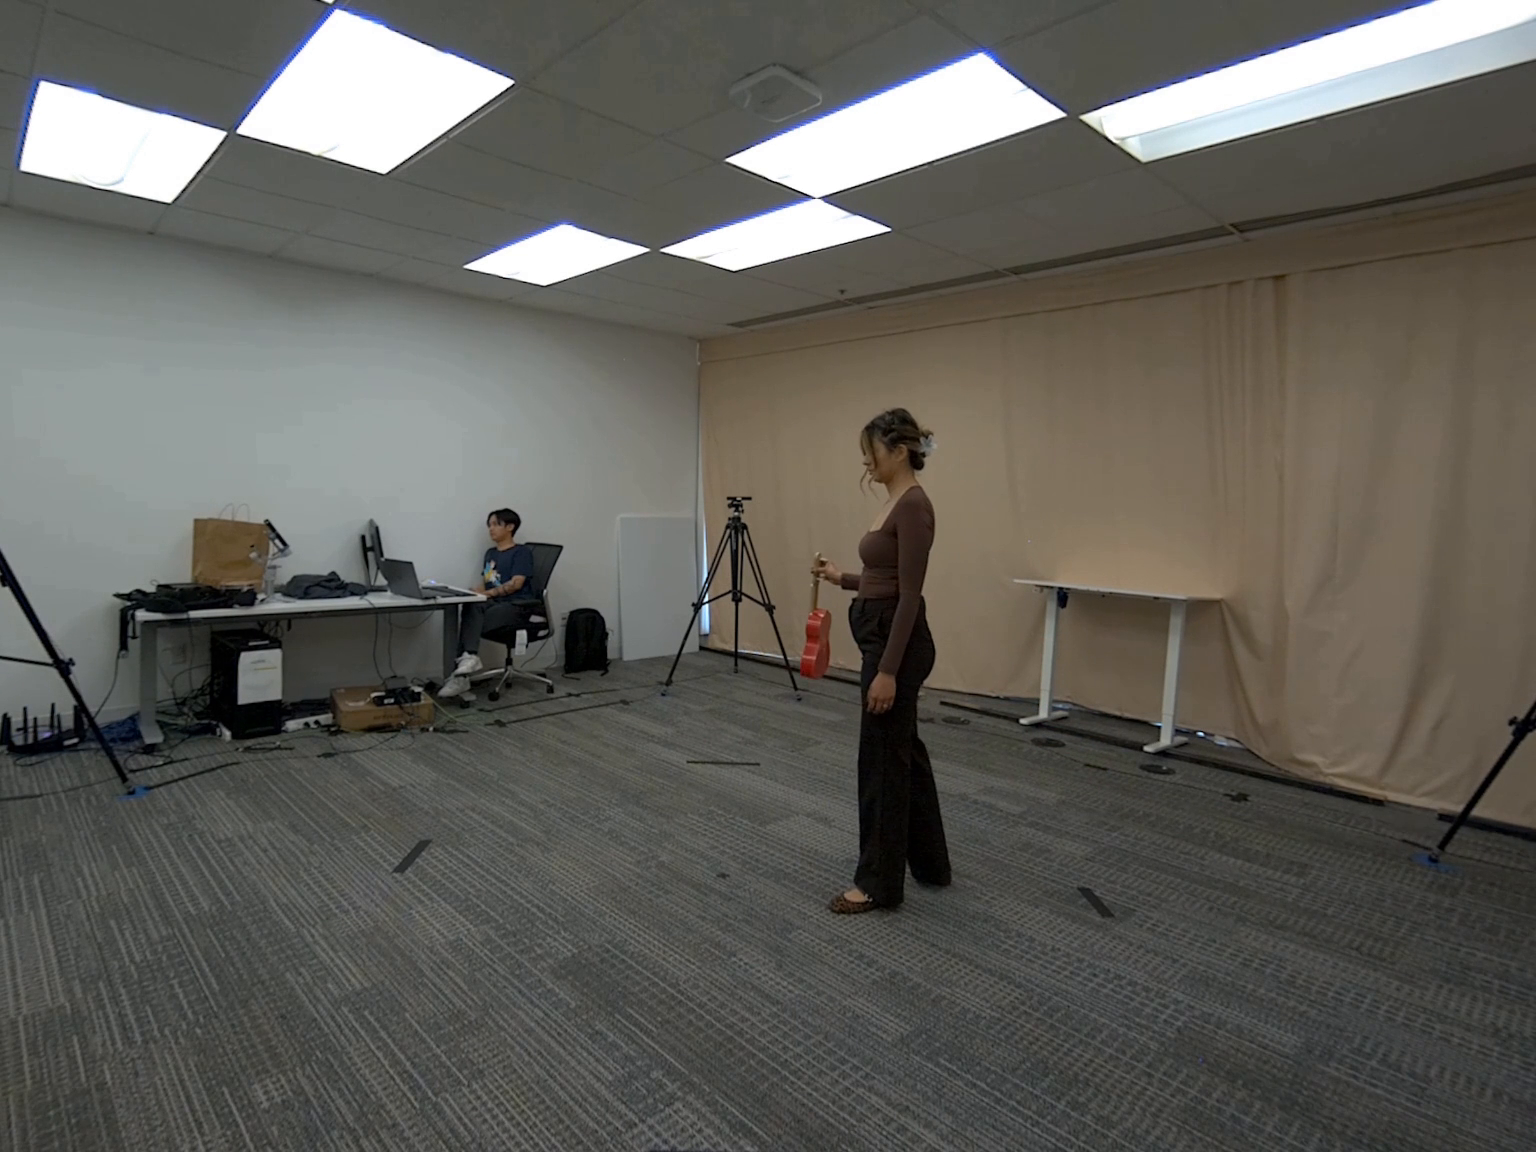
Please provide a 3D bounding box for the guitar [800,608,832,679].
[{"bbox_3d":[0.187,0.163,3.313,0.072,0.492,0.191,6,16,21],"label":"guitar"}]
